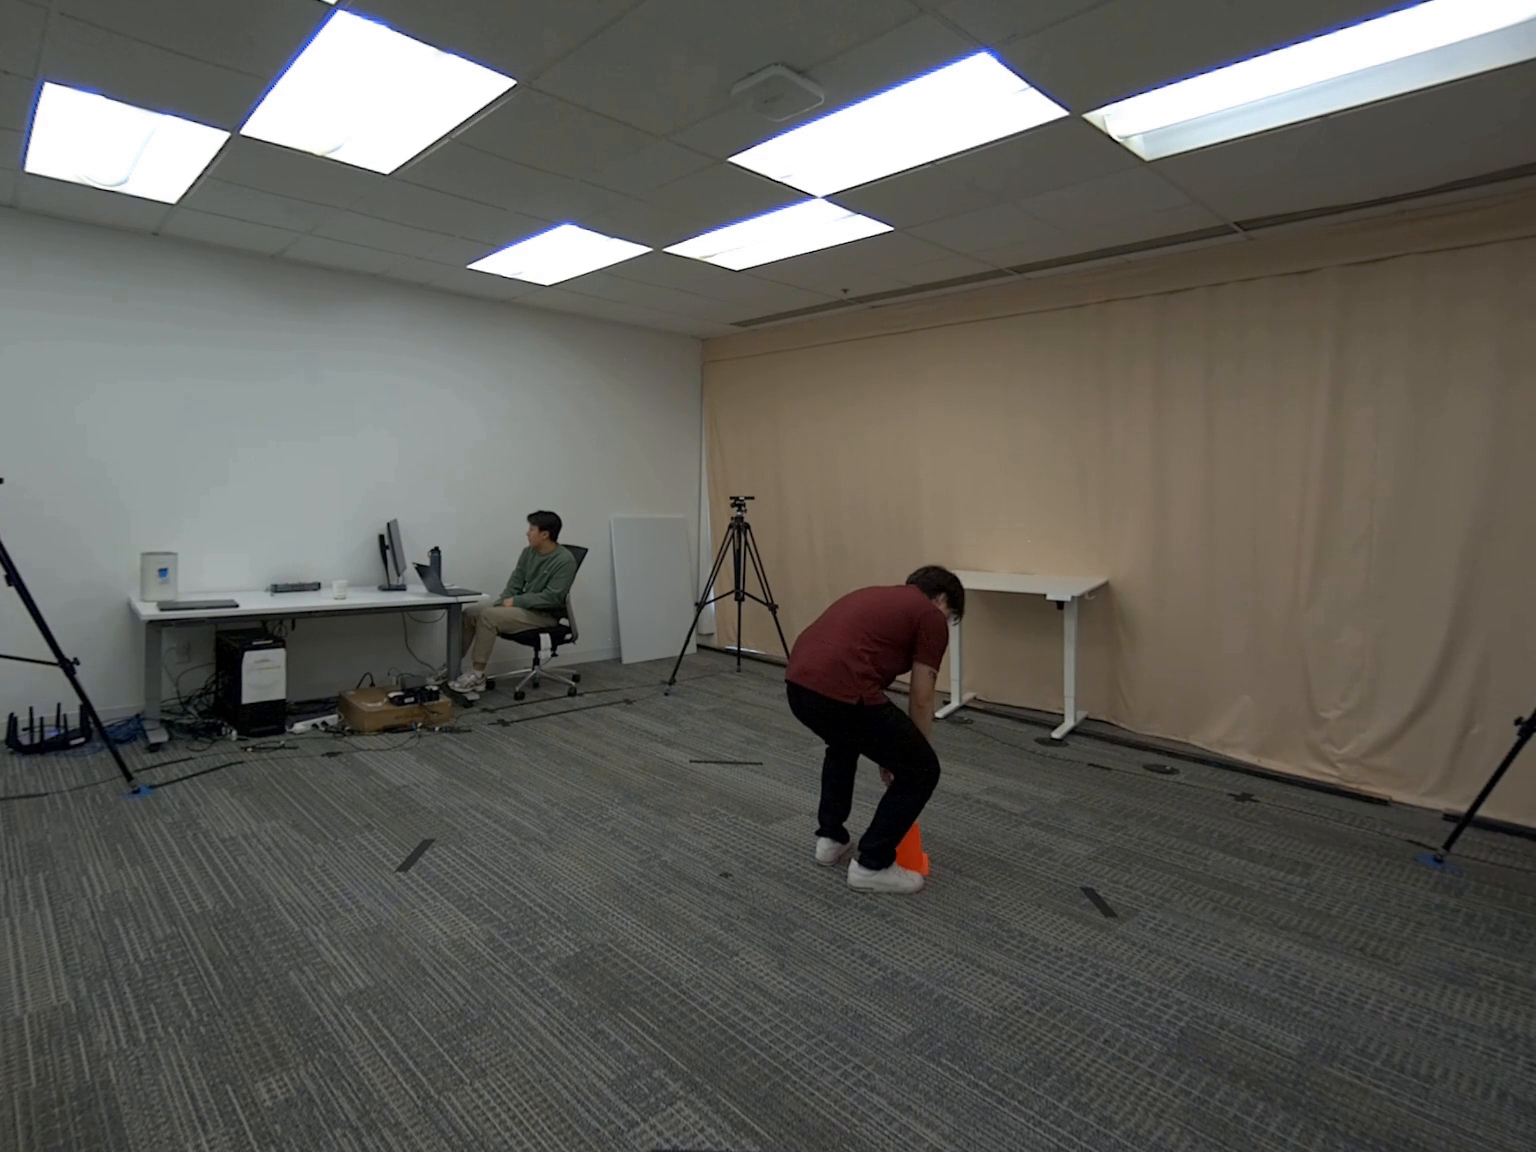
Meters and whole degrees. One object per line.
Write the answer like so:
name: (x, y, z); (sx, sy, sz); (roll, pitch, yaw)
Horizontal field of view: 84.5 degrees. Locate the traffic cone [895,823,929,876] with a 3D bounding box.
traffic cone: (0.527, 0.924, 3.263); (0.205, 0.383, 0.203); (4, 1, 11)
